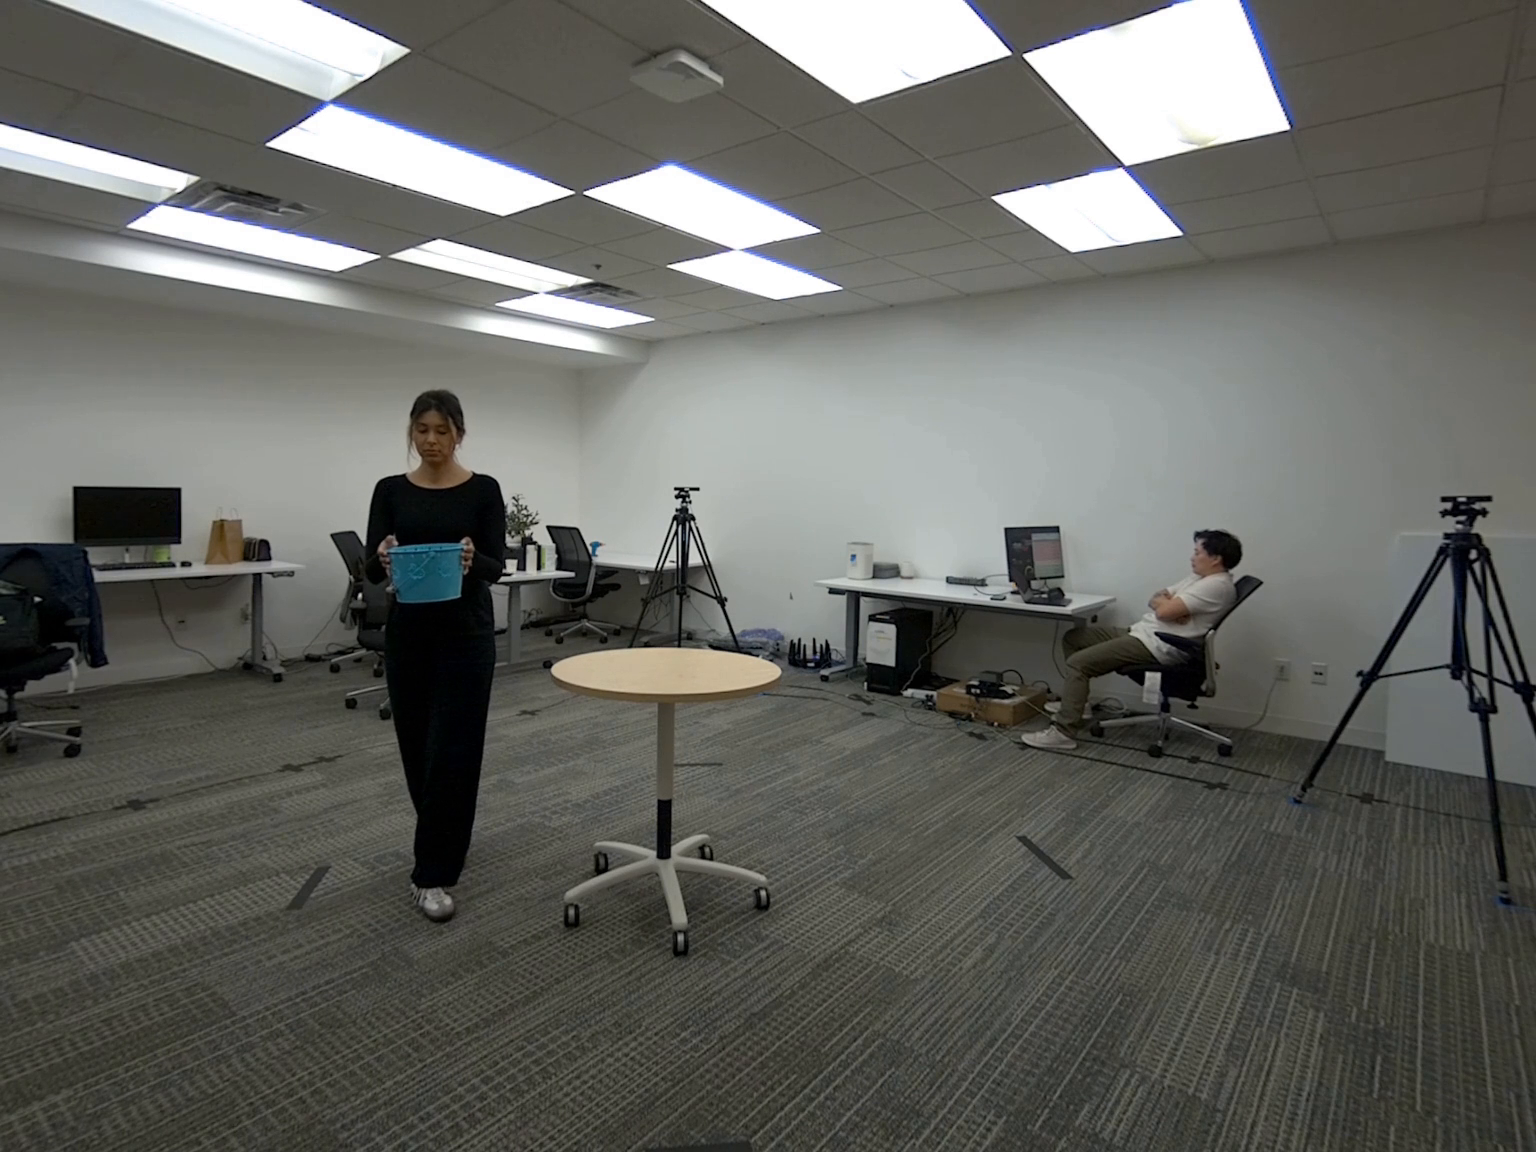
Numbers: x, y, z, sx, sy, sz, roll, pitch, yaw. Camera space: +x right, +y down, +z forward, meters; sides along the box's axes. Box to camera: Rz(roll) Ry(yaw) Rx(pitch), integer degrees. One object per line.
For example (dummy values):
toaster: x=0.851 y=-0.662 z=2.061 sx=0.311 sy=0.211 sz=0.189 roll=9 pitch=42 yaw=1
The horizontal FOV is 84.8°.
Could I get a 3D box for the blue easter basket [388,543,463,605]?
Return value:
blue easter basket: x=-1.038 y=-0.010 z=2.539 sx=0.243 sy=0.155 sz=0.245 roll=-4 pitch=6 yaw=-2
